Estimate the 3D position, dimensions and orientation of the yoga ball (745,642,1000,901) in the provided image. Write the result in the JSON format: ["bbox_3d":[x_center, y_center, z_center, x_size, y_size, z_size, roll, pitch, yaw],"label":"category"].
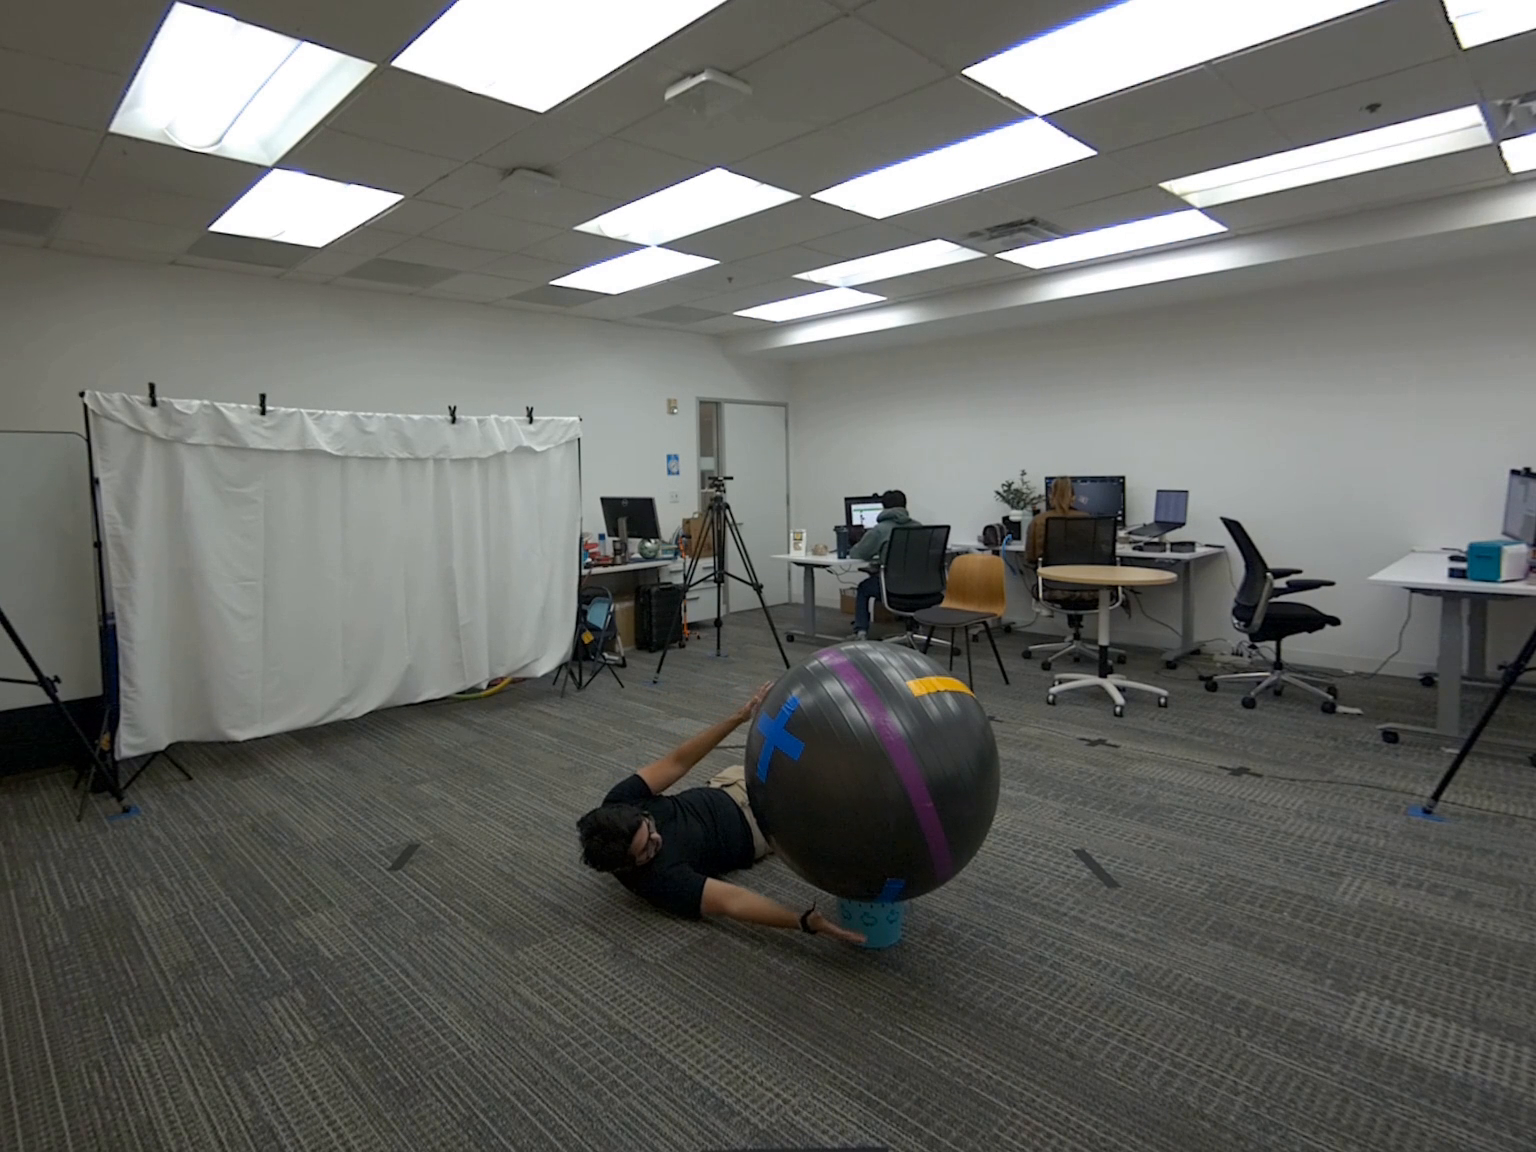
[{"bbox_3d":[0.309,0.581,2.581,0.757,0.755,0.761,-1,4,-2],"label":"yoga ball"}]
